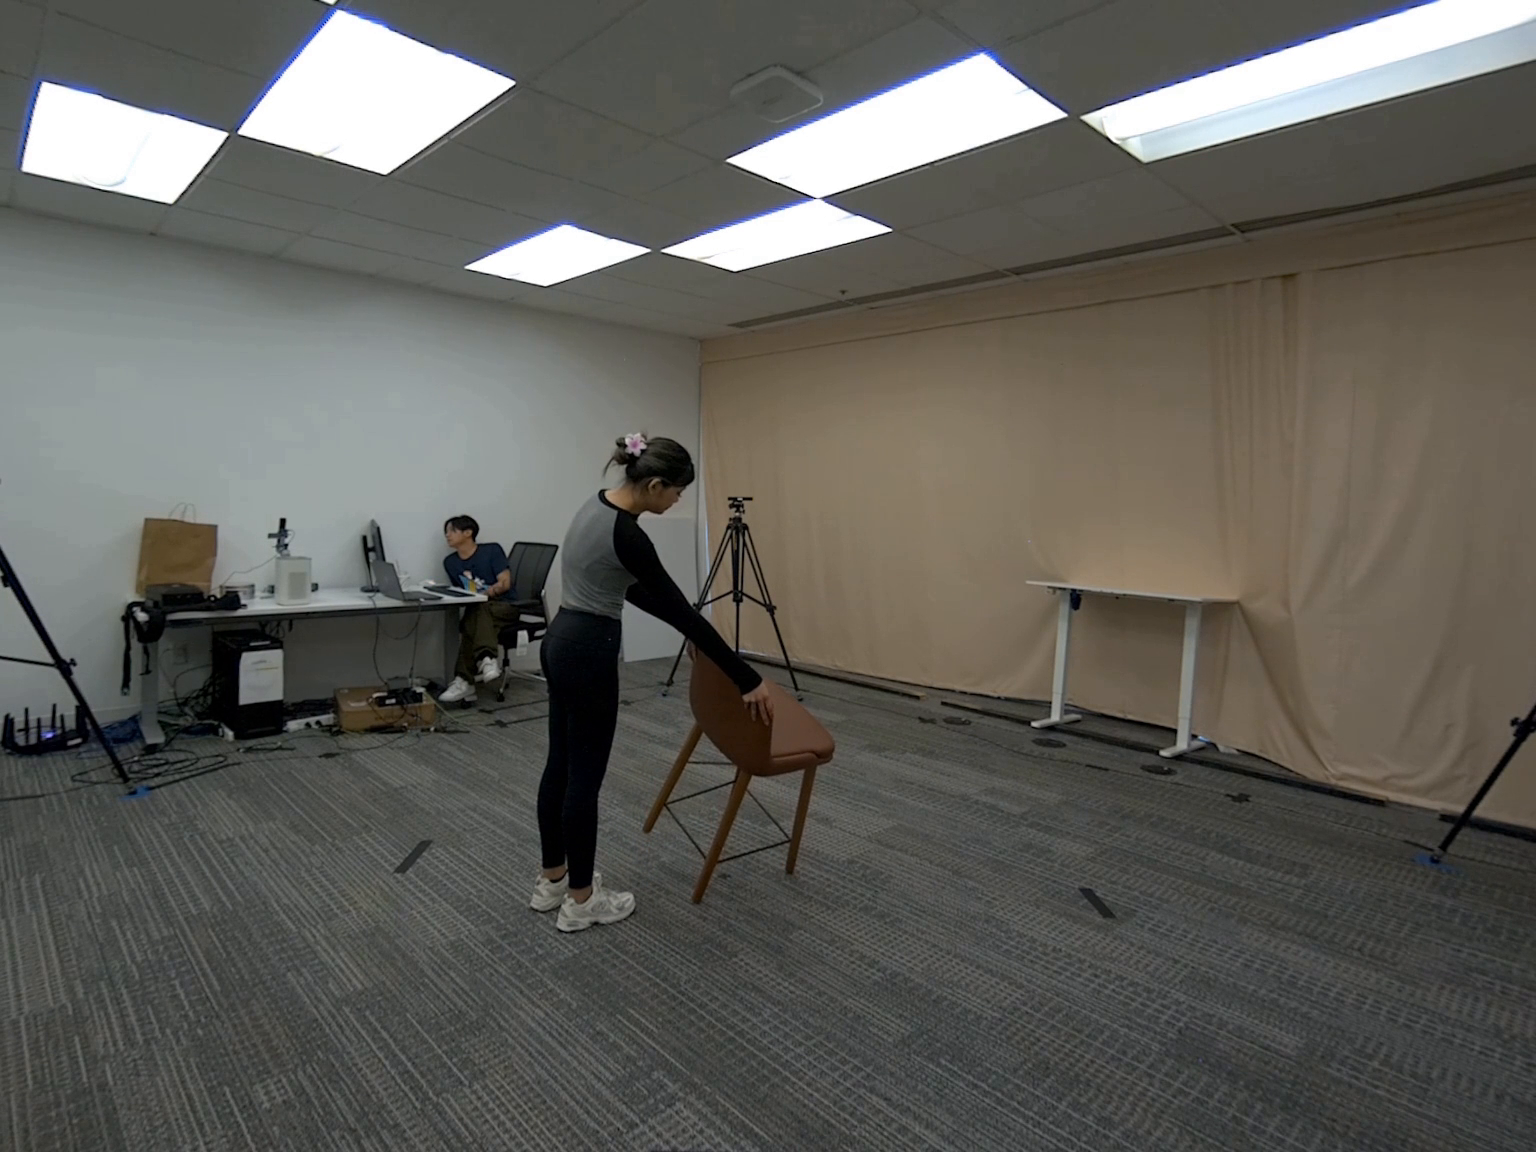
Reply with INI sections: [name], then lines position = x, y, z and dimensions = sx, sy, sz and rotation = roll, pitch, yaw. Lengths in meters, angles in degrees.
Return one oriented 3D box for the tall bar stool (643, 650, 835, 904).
[tall bar stool]
position = -0.087, 0.642, 2.978
dimensions = 0.458, 0.880, 0.471
rotation = -5, 30, -39
